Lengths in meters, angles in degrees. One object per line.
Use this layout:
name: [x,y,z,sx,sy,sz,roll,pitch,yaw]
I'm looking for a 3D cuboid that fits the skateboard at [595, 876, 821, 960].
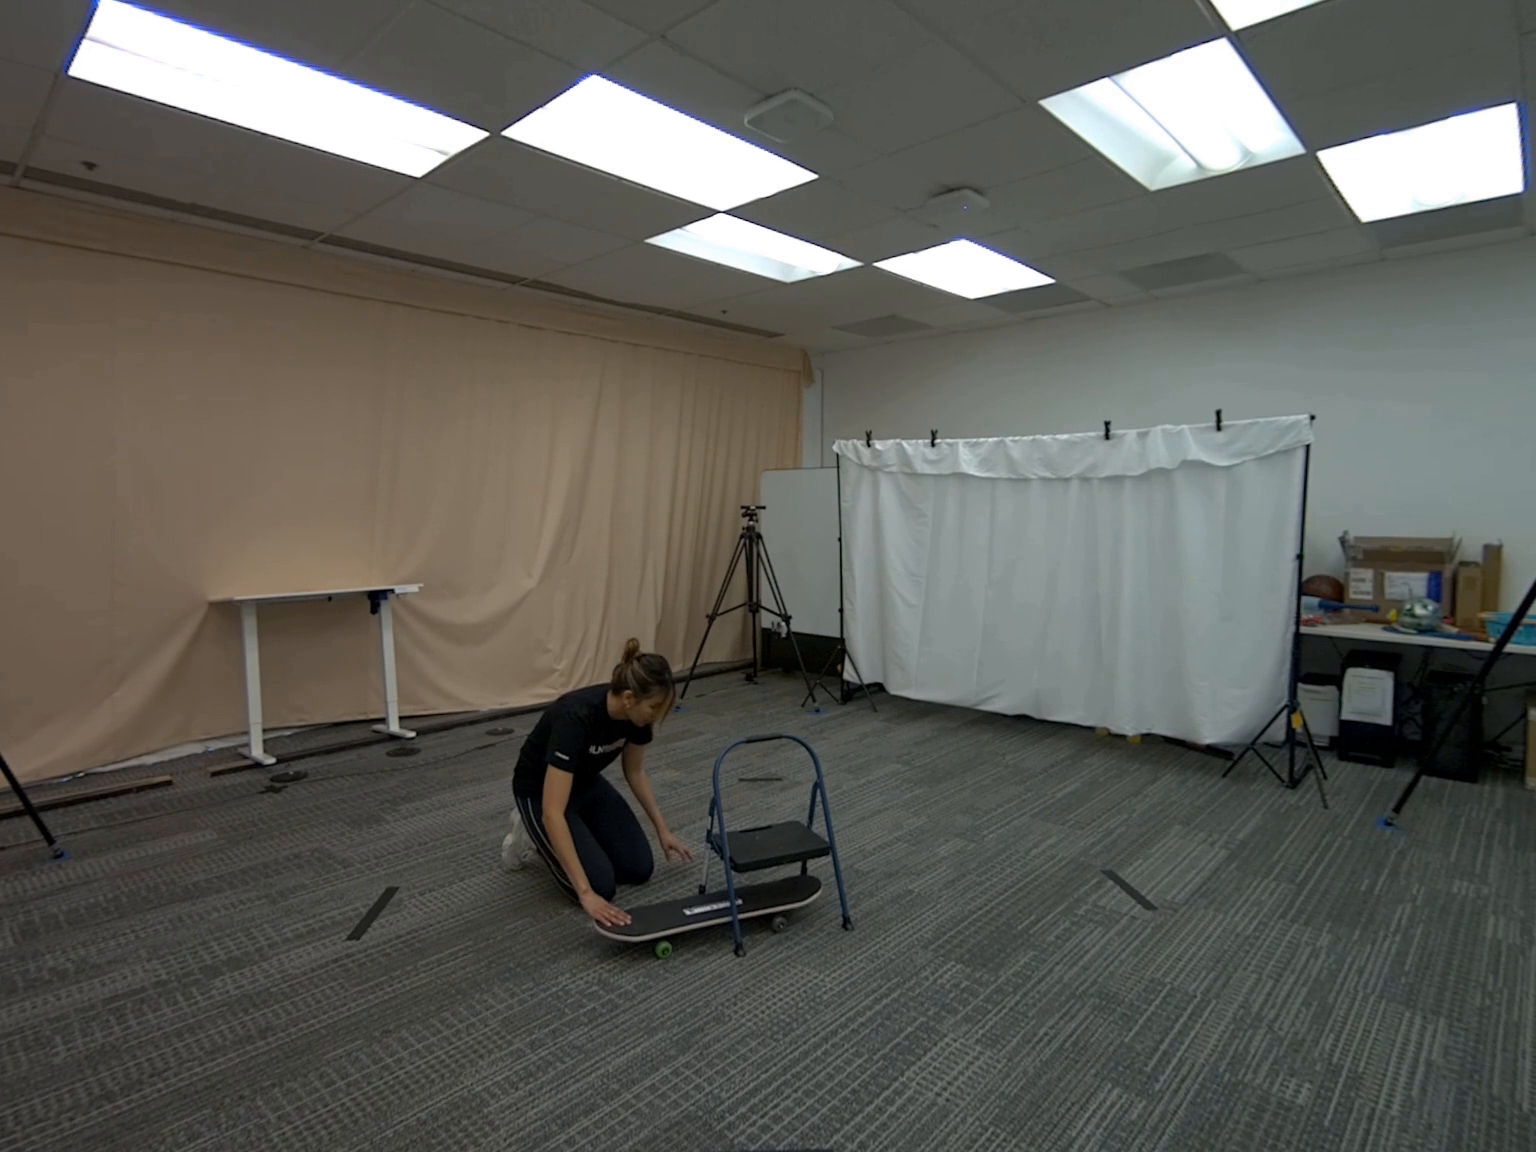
skateboard: [-0.169,1.097,2.749,0.768,0.110,0.198,-3,3,-23]
